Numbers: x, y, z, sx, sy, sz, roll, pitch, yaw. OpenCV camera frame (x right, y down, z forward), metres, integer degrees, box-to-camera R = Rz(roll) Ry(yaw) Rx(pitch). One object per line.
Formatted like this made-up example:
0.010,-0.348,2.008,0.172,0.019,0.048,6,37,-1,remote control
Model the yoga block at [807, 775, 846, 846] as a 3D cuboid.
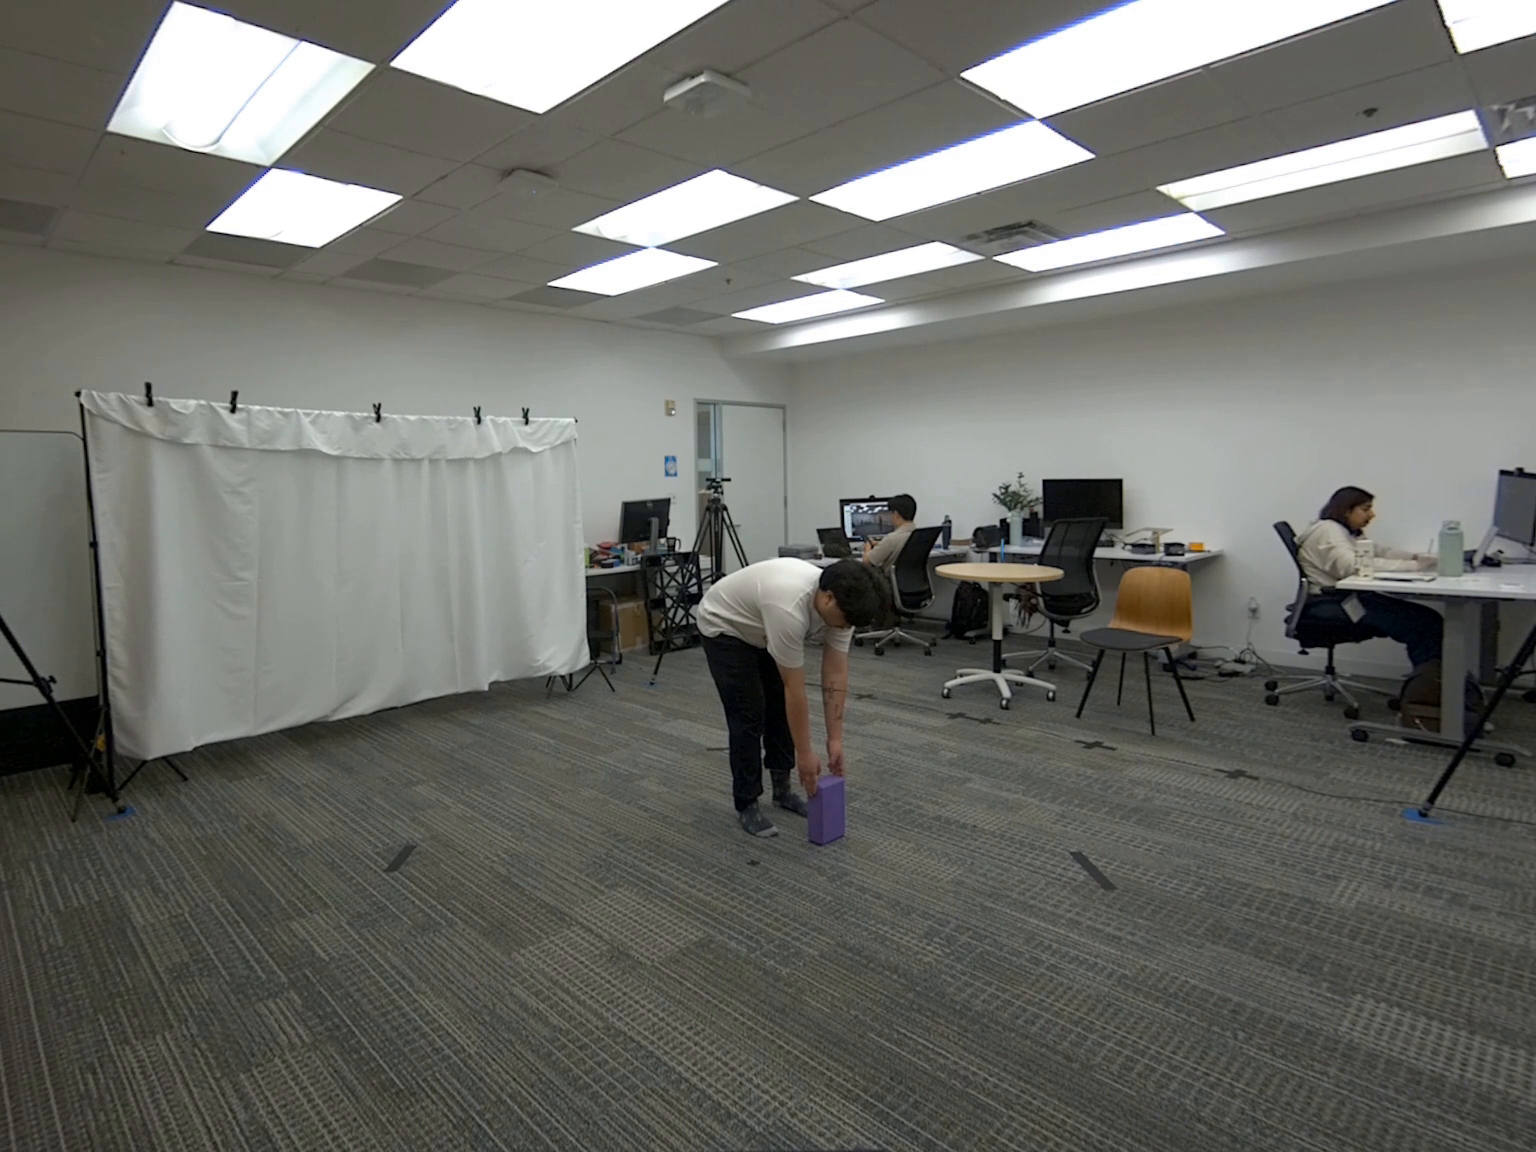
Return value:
0.228,0.905,3.307,0.078,0.229,0.145,-1,1,45,yoga block
